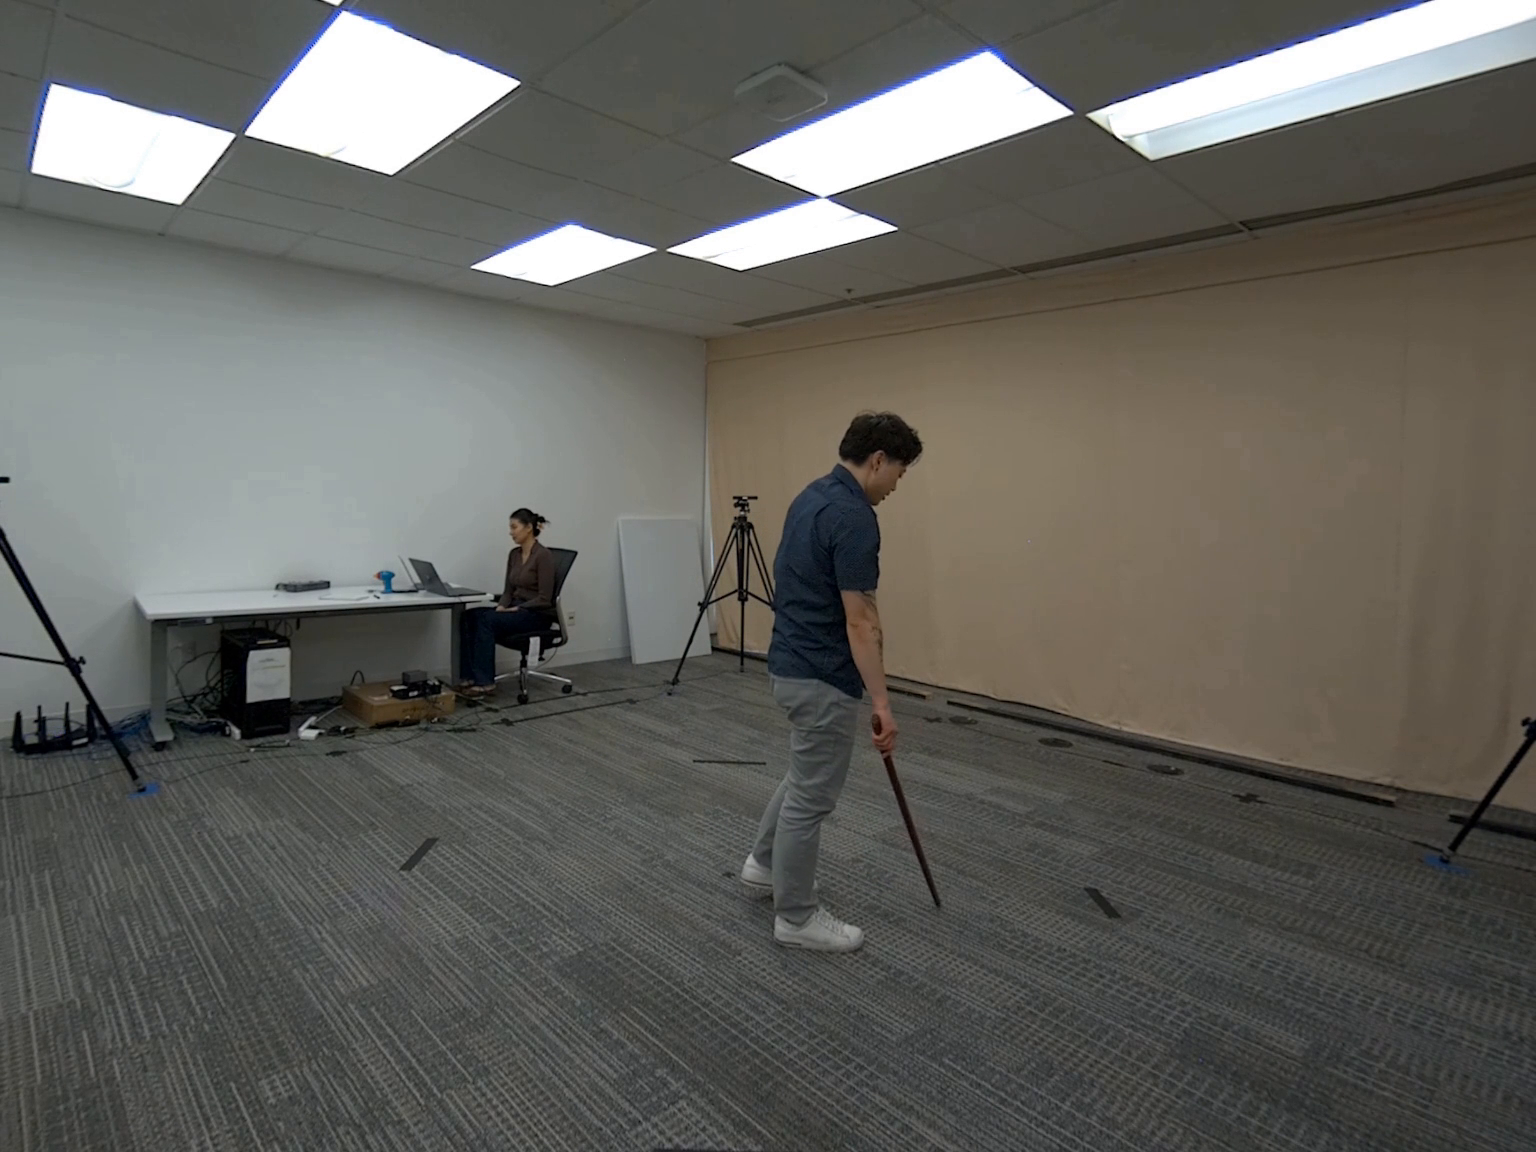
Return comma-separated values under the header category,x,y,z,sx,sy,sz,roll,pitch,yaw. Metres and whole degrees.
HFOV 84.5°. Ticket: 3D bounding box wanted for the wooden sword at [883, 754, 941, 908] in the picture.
category,x,y,z,sx,sy,sz,roll,pitch,yaw
wooden sword,0.434,0.773,2.601,0.053,0.995,0.024,22,56,40
